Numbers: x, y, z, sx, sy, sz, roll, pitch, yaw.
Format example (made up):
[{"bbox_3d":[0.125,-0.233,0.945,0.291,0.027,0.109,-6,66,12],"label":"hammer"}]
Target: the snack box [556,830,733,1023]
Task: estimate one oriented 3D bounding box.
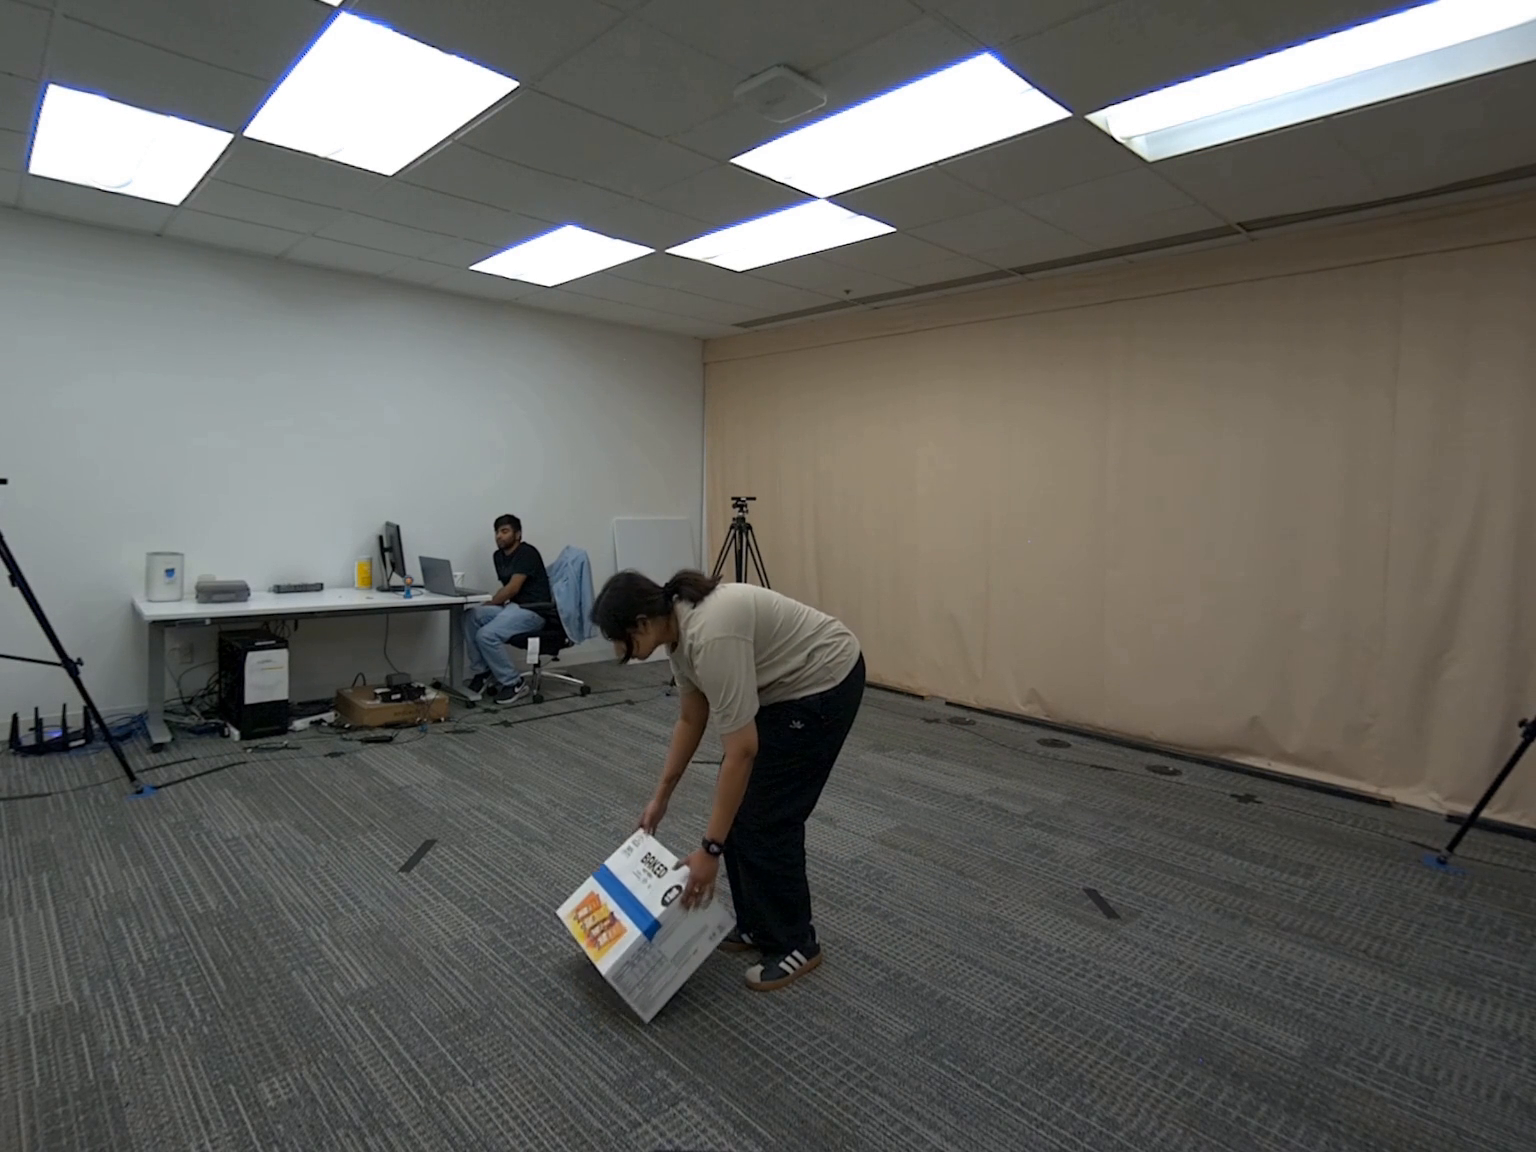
[{"bbox_3d":[-0.358,0.971,2.398,0.340,0.201,0.414,-43,23,-21],"label":"snack box"}]
